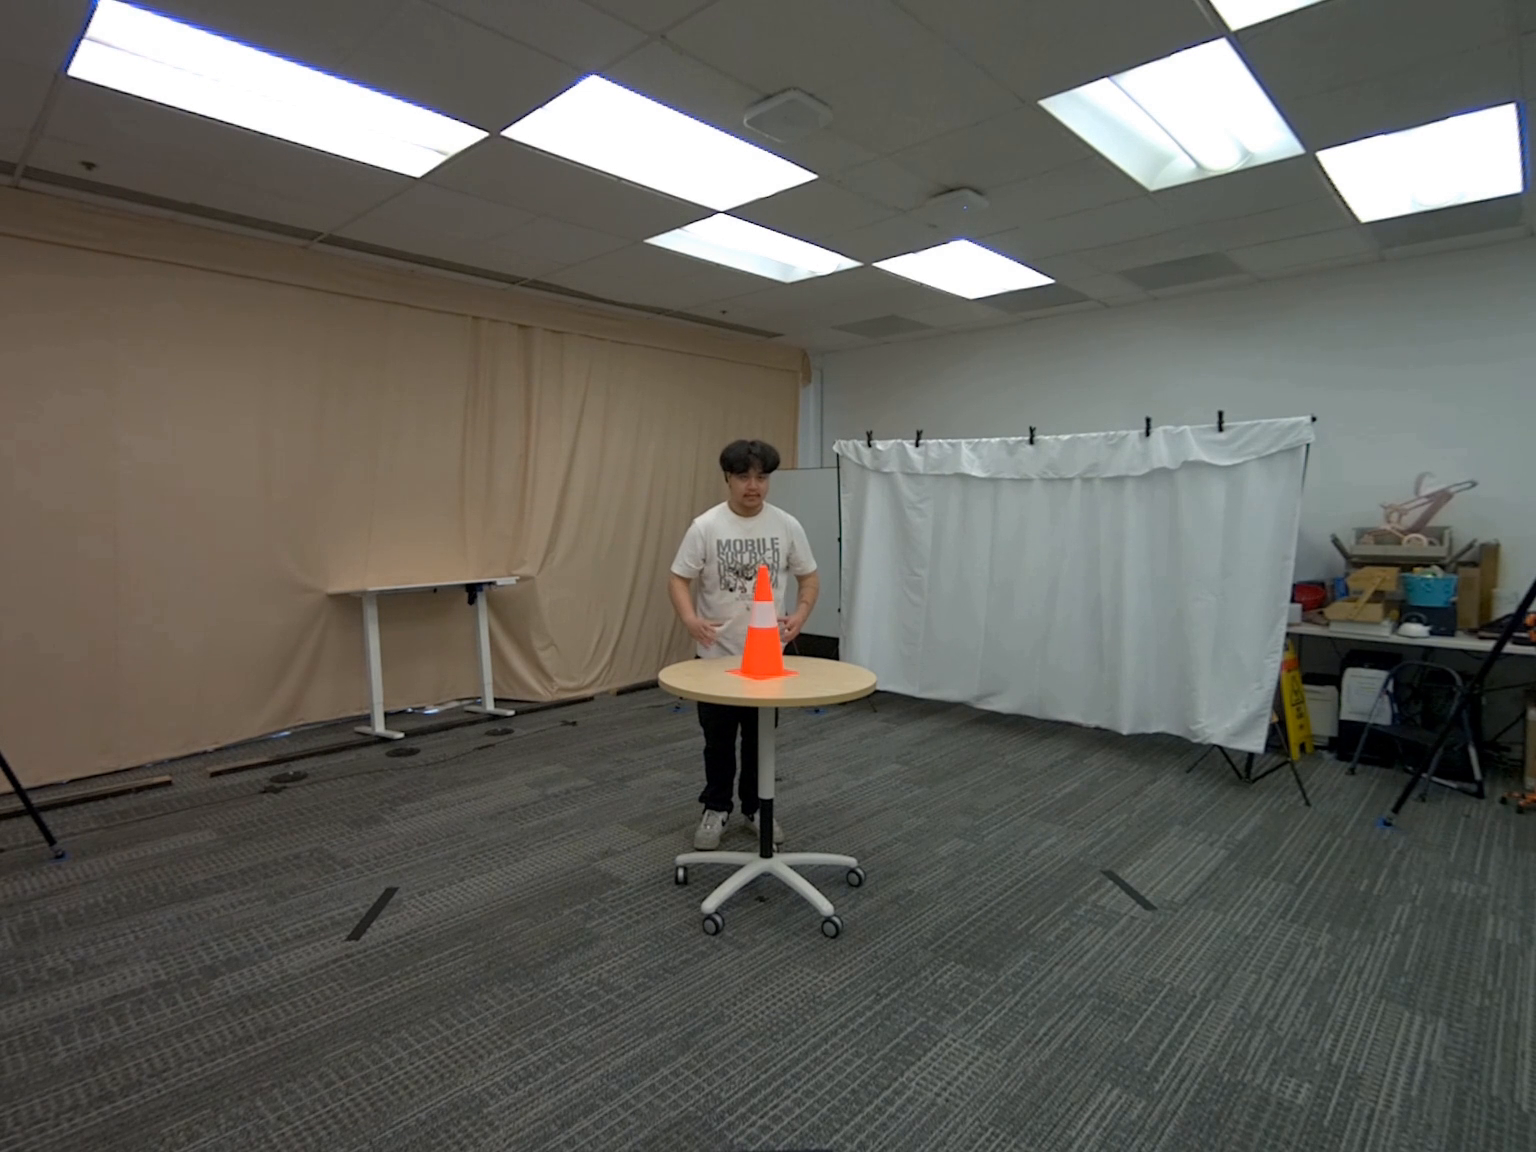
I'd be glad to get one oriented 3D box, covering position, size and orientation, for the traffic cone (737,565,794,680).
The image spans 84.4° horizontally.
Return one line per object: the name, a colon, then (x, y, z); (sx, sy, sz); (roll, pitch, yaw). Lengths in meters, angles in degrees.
traffic cone: (-0.018, 0.157, 3.010); (0.212, 0.383, 0.197); (3, 3, 42)
